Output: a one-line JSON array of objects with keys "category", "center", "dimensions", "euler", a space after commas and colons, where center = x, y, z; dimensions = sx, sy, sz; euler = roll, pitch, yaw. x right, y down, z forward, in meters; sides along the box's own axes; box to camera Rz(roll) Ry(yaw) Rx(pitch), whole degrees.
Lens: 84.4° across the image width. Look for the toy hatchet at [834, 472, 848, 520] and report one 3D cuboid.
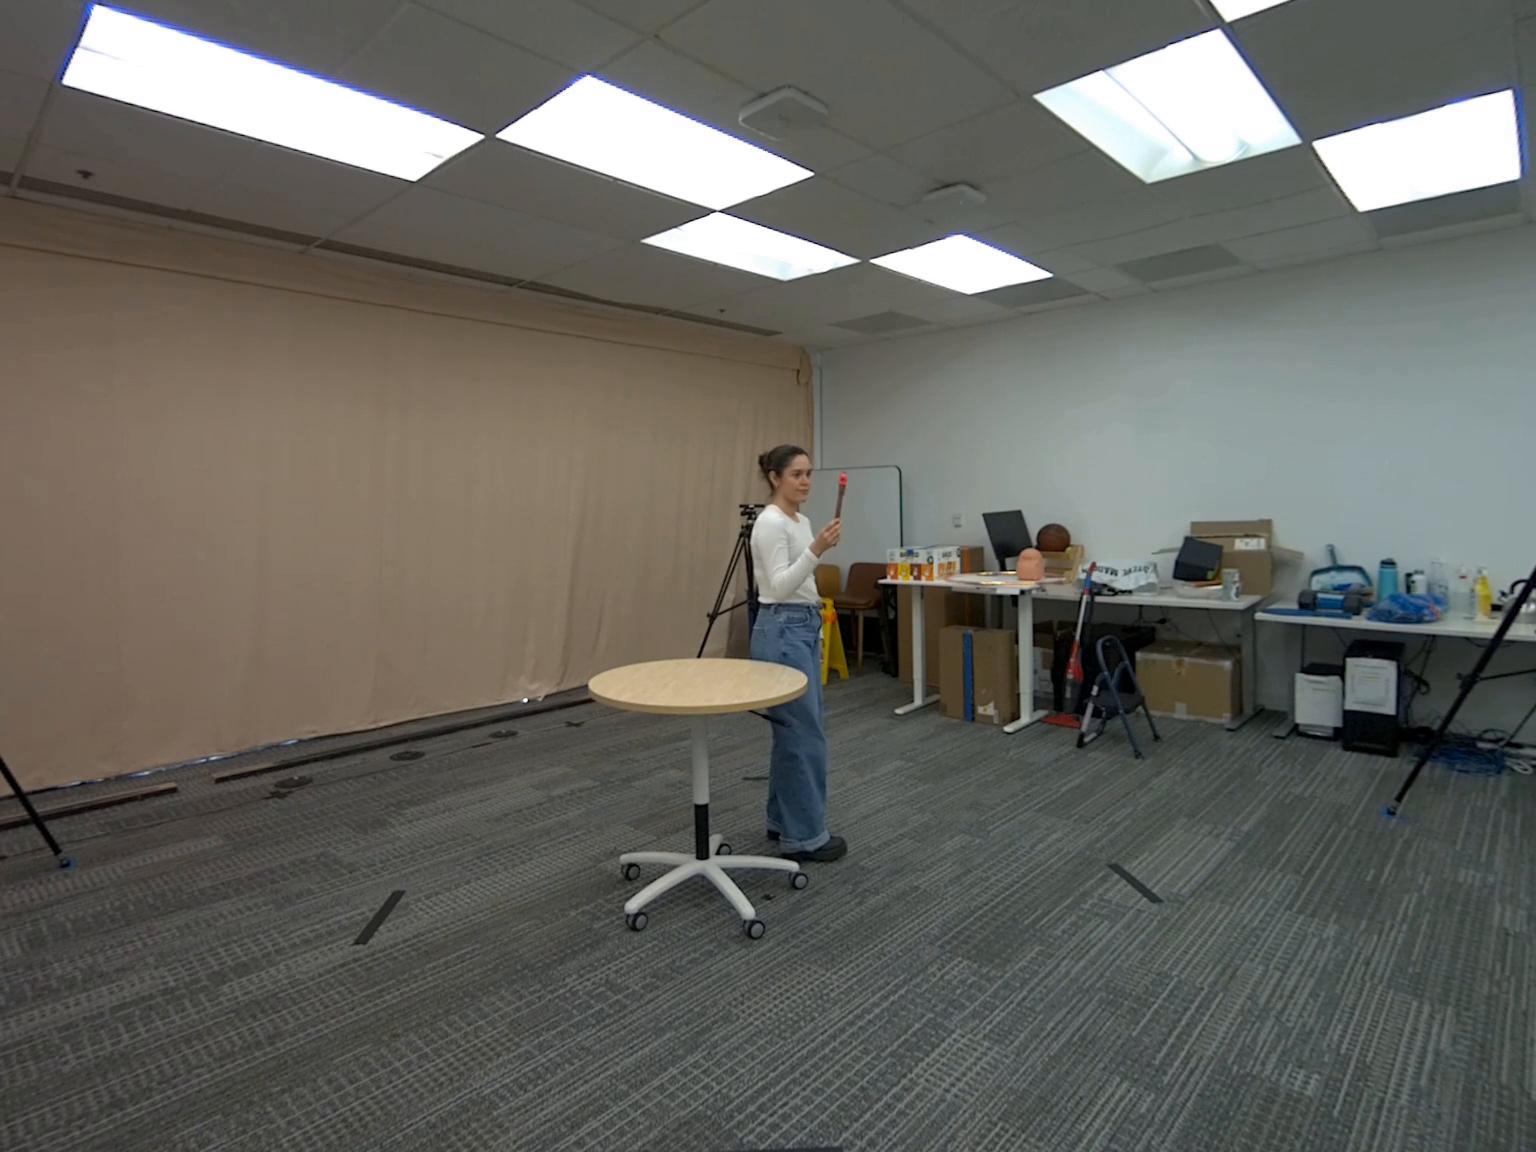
[{"category": "toy hatchet", "center": [0.272, -0.257, 3.129], "dimensions": [0.030, 0.268, 0.131], "euler": [11, 13, 5]}]
